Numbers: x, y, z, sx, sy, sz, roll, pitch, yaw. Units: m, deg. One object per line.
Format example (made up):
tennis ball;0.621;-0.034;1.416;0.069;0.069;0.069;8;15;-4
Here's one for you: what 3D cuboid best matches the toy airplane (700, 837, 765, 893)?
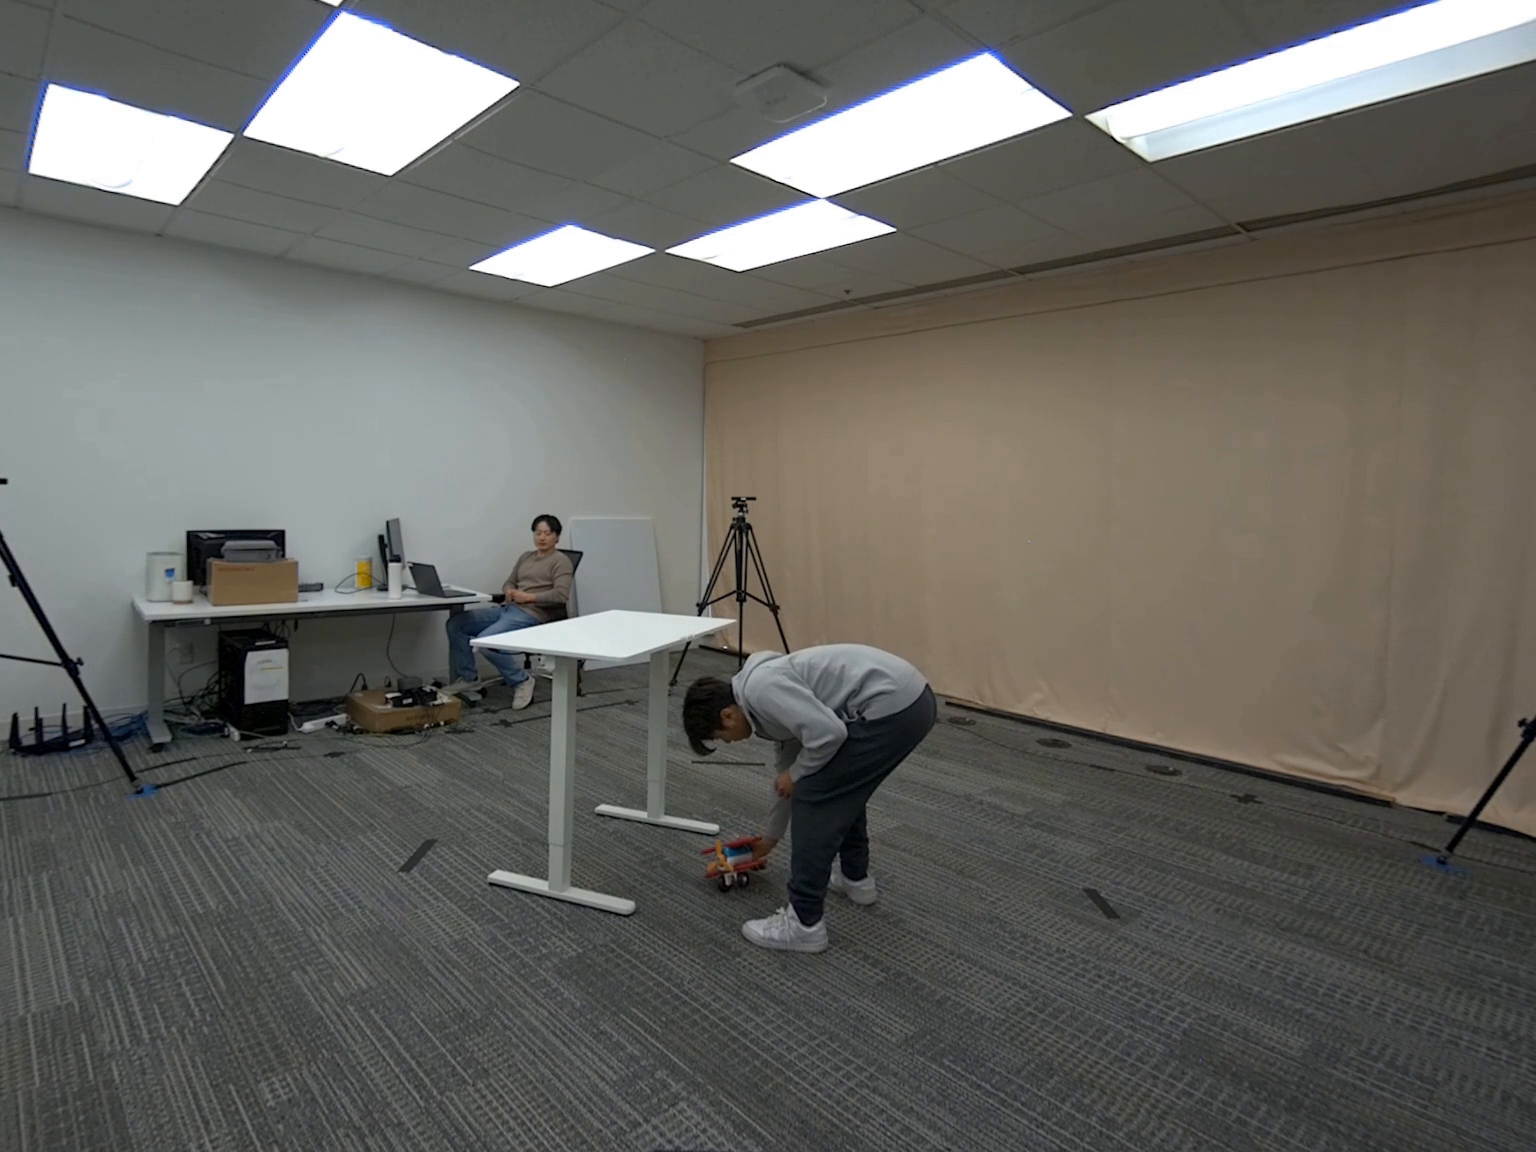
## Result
toy airplane;-0.119;1.028;3.054;0.251;0.157;0.257;-22;-5;2
